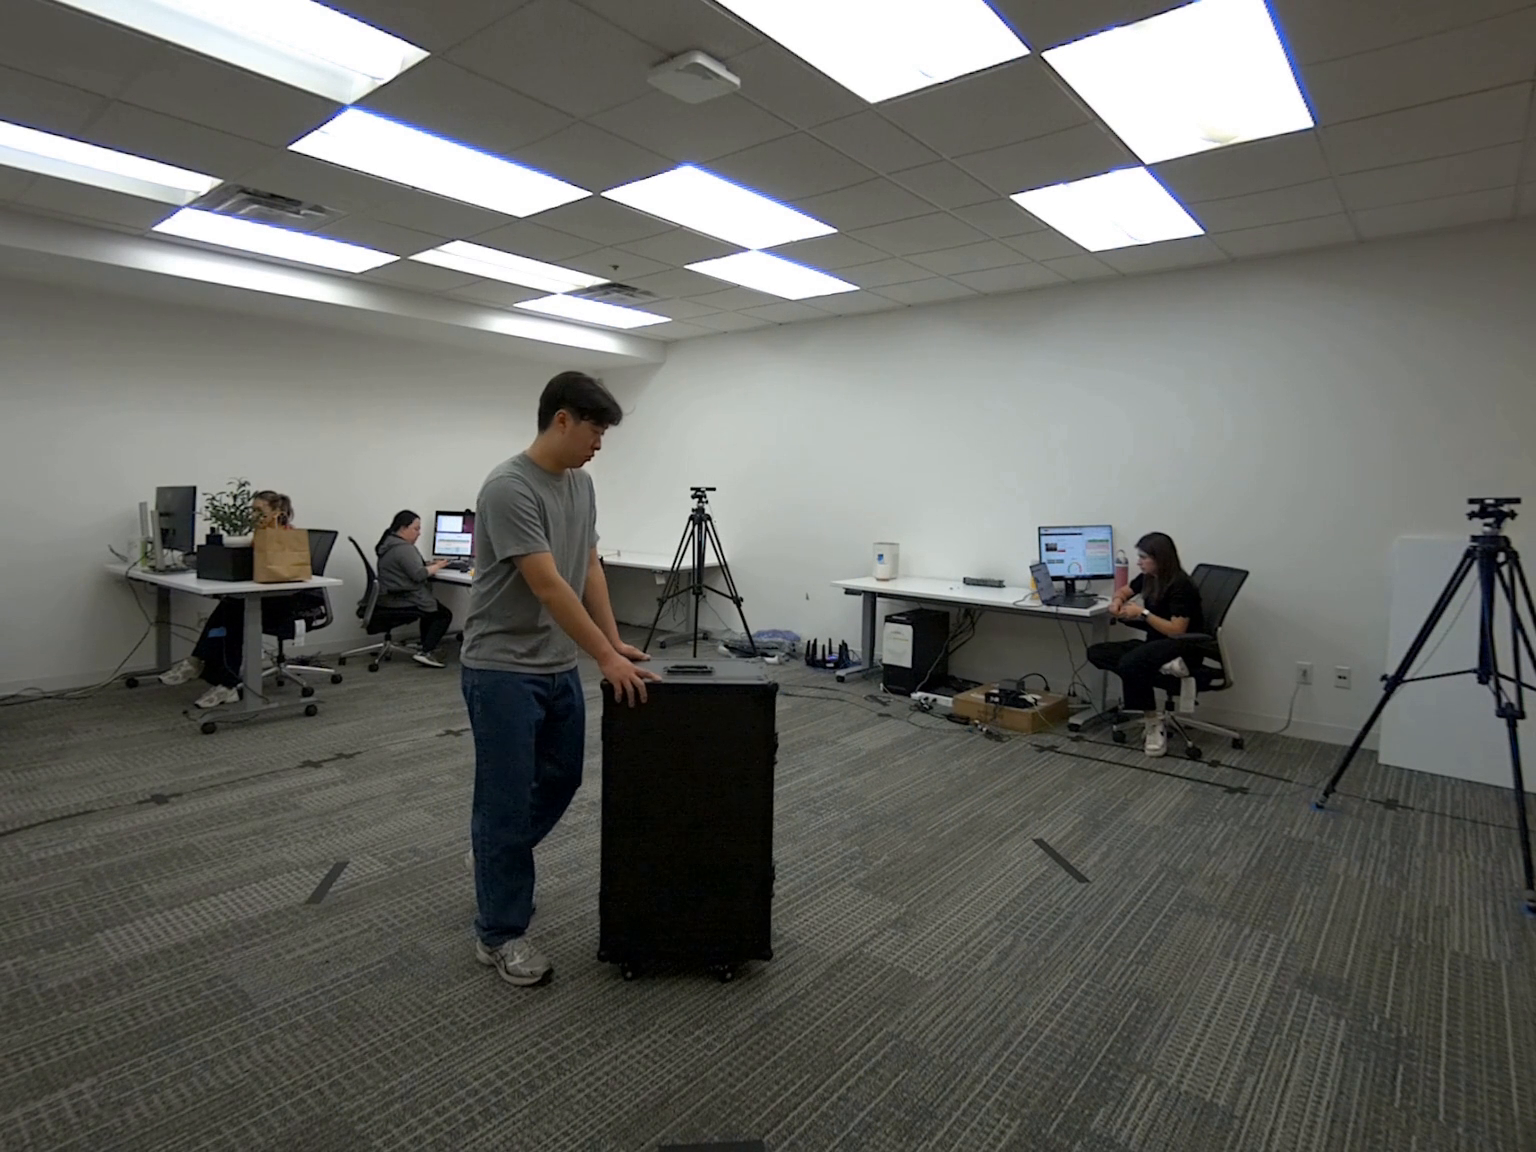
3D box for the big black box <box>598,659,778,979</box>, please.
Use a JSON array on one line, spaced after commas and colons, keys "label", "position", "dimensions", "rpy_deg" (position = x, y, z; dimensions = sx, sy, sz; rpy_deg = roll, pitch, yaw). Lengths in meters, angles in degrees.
[{"label": "big black box", "position": [-0.254, 0.708, 2.527], "dimensions": [0.520, 0.859, 0.398], "rpy_deg": [1, 3, -3]}]
